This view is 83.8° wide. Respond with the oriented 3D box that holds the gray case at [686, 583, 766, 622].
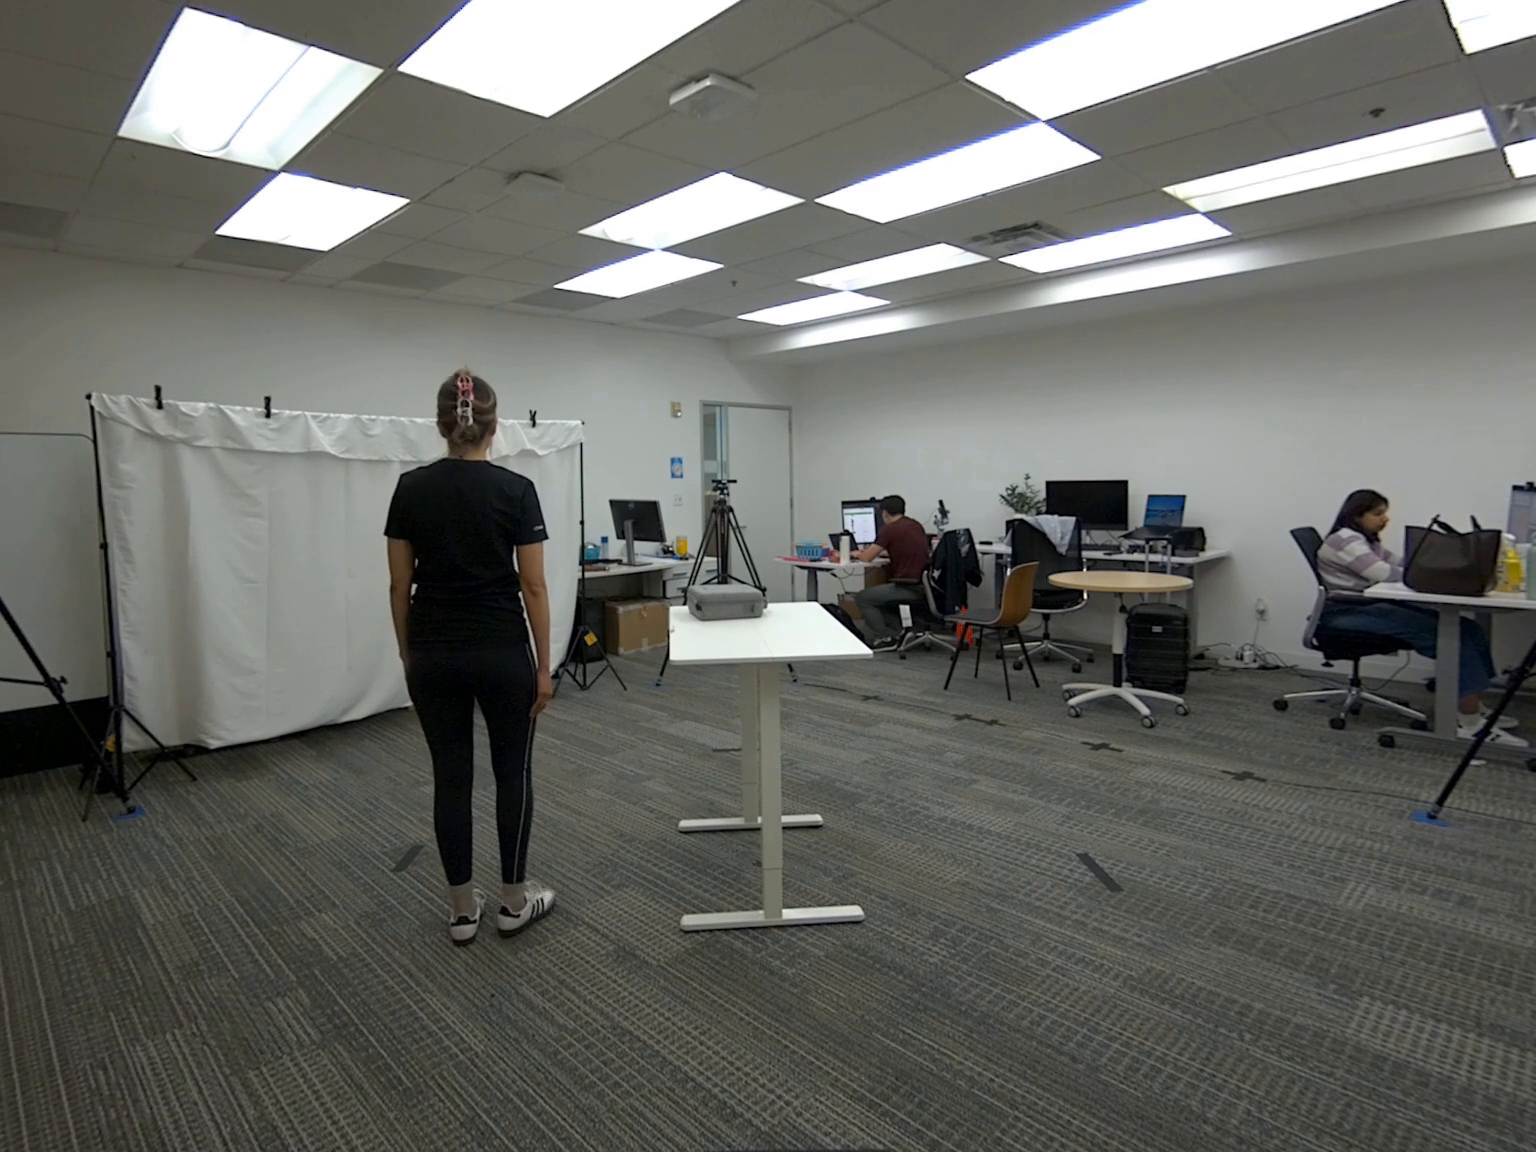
[{"bbox_3d":[-0.160,0.095,3.258,0.257,0.104,0.262,-2,6,-15],"label":"gray case"}]
